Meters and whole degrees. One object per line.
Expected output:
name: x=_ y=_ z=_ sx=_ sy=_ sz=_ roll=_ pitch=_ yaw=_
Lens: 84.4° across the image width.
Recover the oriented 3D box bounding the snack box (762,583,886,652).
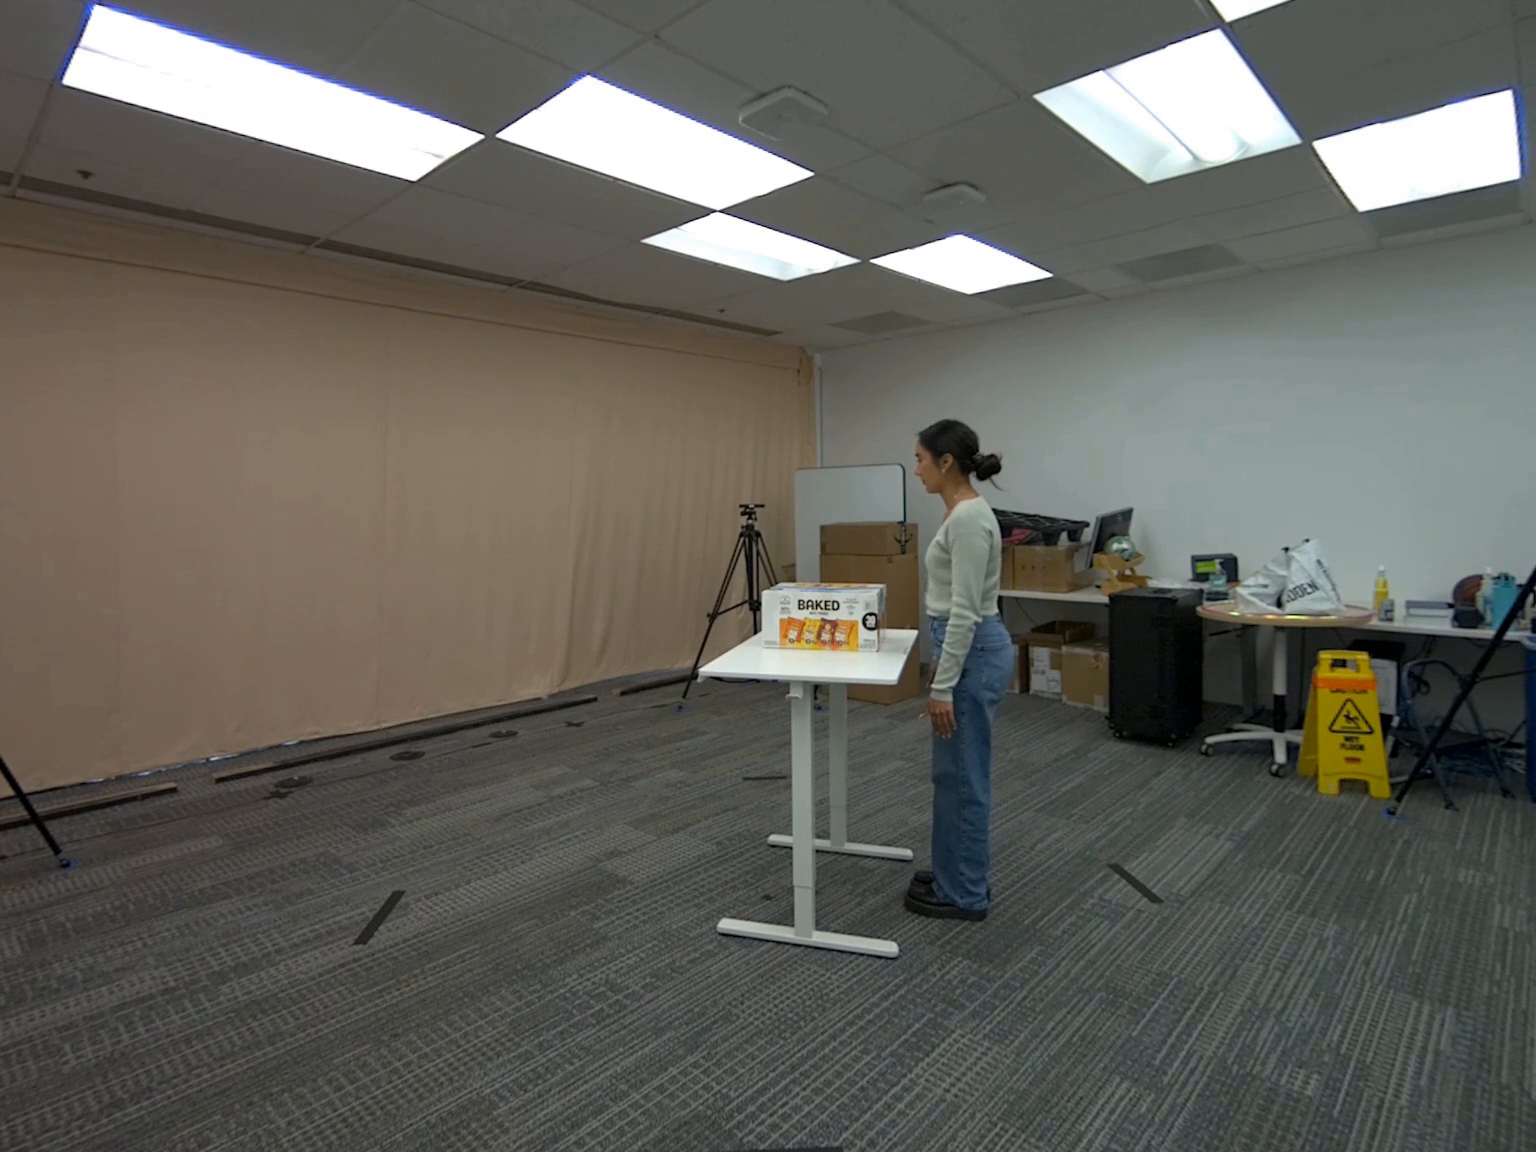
snack box: x=0.215 y=0.145 z=3.084 sx=0.412 sy=0.205 sz=0.335 roll=1 pitch=4 yaw=15
